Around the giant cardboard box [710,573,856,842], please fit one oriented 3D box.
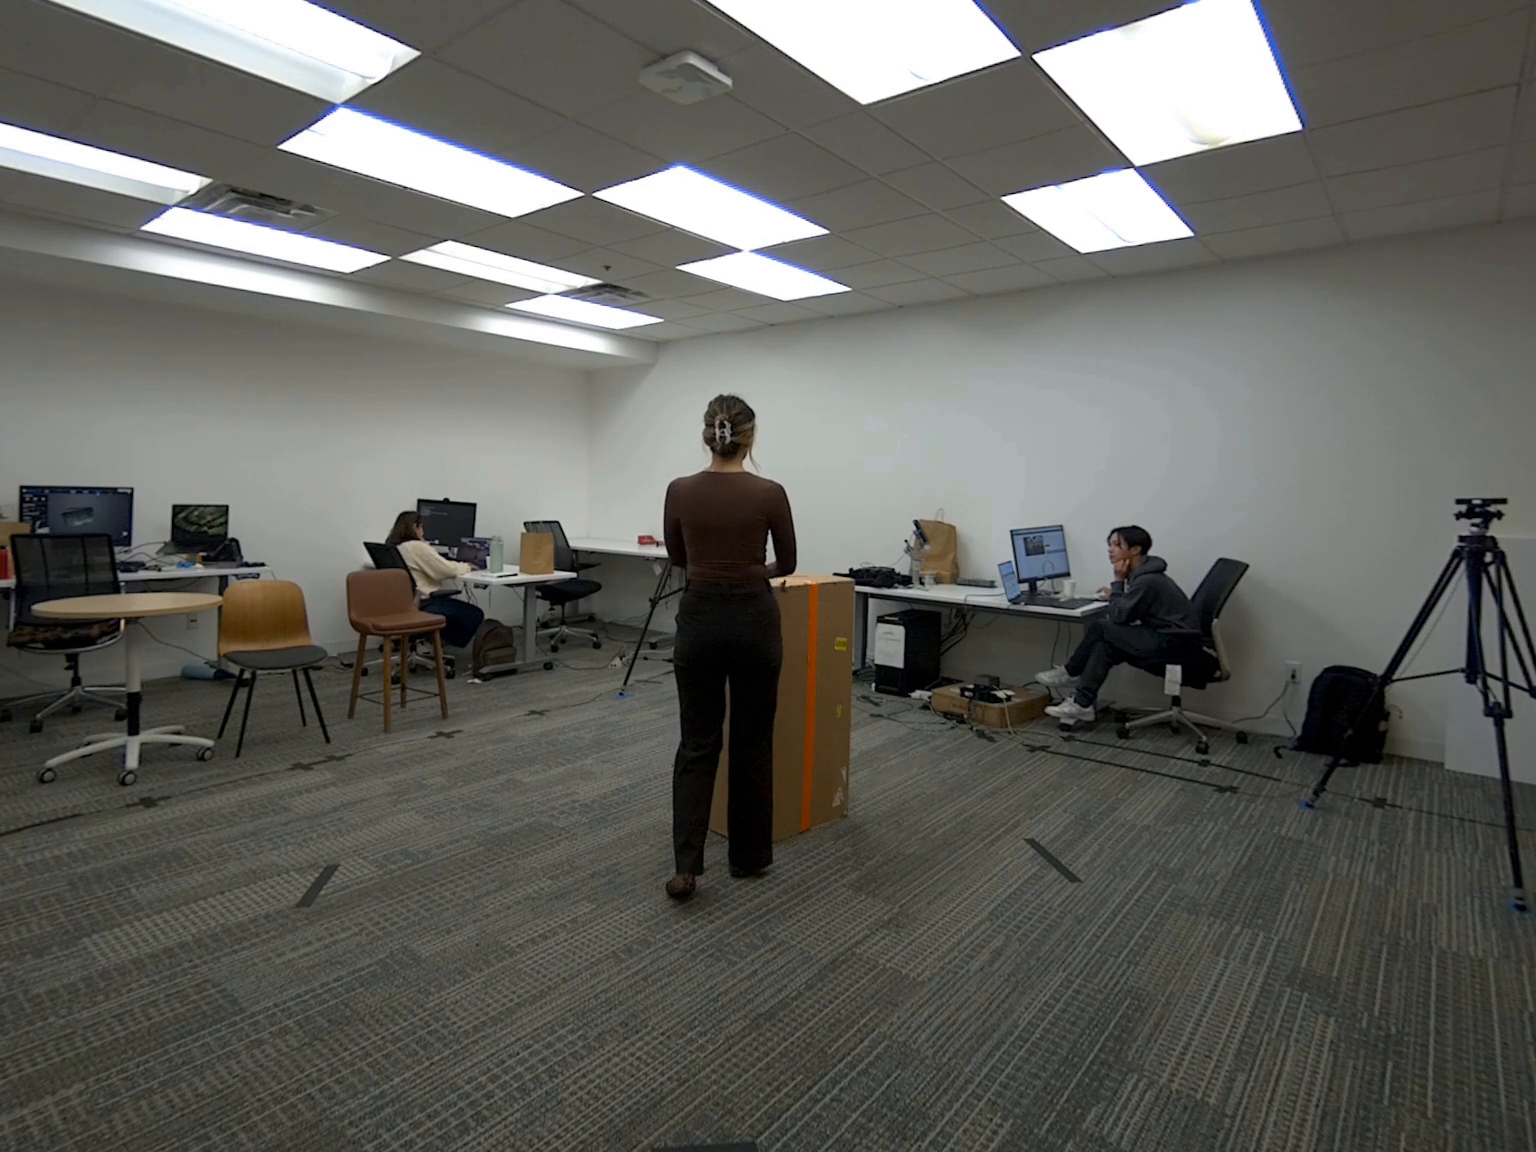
[{"bbox_3d":[0.007,0.515,3.608,0.566,1.024,0.462,-2,5,-43],"label":"giant cardboard box"}]
